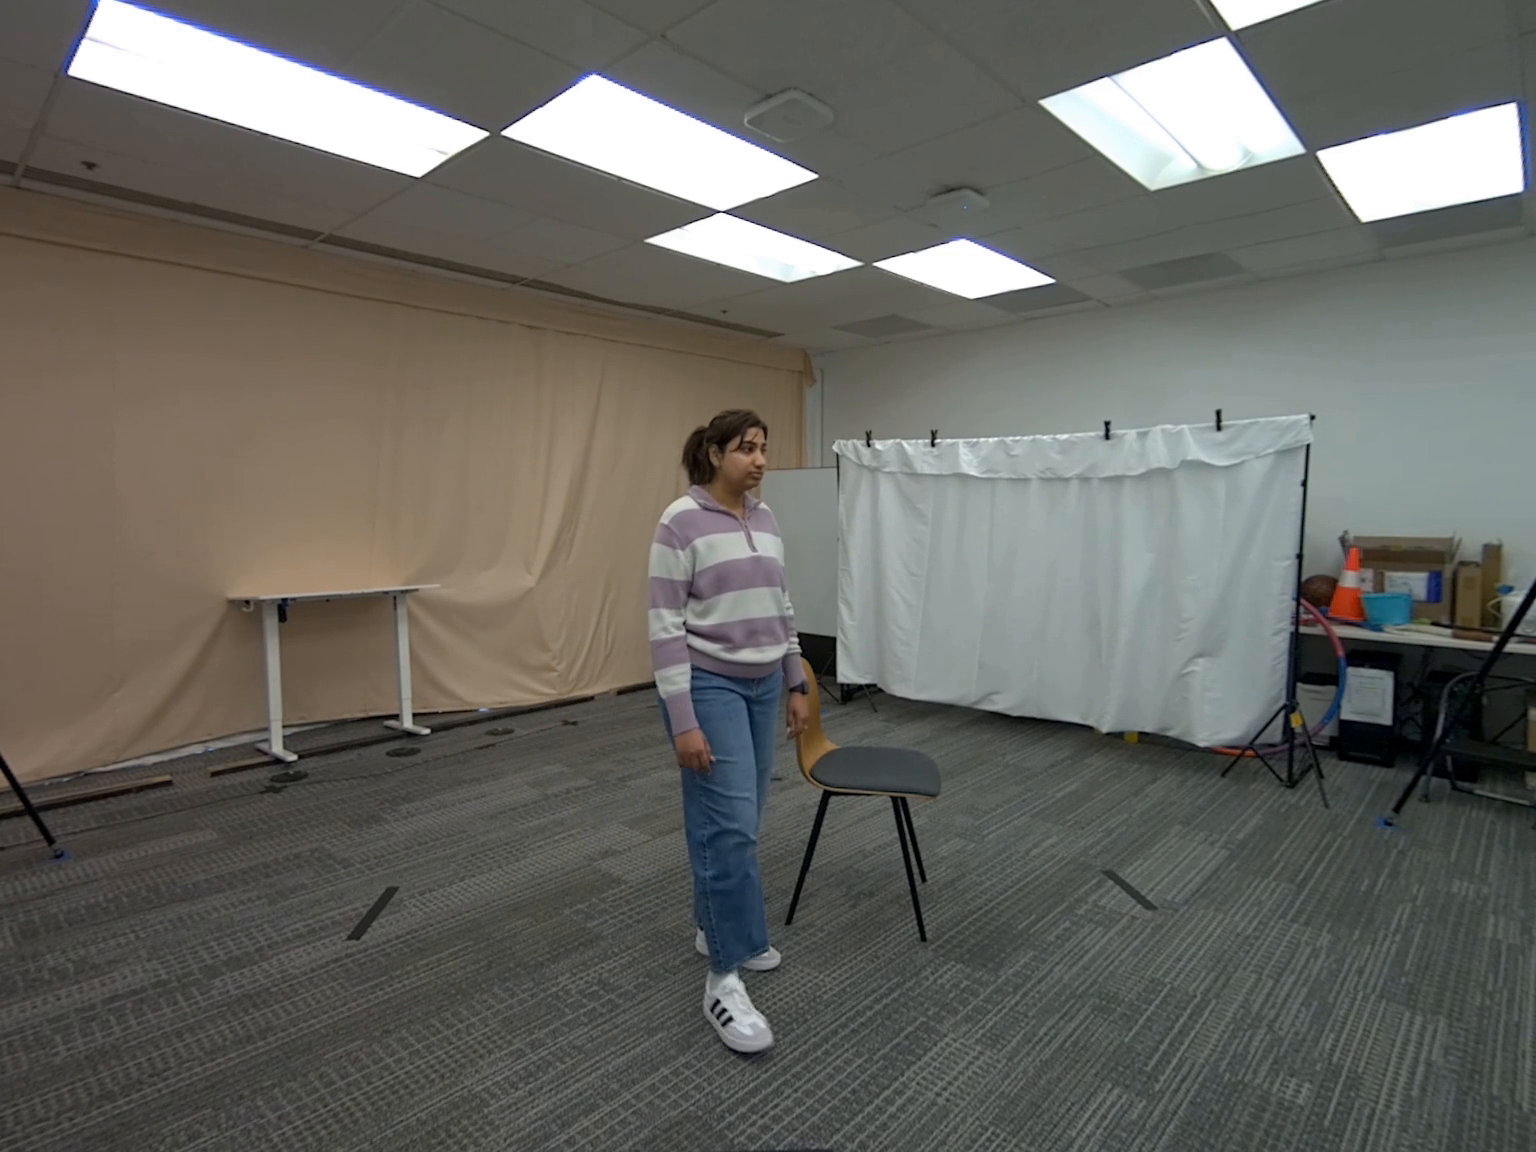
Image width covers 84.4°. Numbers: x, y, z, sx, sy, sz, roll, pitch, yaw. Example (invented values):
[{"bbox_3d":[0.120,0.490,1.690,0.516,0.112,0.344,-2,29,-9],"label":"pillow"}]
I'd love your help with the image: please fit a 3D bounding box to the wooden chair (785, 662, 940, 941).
[{"bbox_3d":[0.335,0.722,2.921,0.531,0.876,0.472,-3,2,13],"label":"wooden chair"}]
